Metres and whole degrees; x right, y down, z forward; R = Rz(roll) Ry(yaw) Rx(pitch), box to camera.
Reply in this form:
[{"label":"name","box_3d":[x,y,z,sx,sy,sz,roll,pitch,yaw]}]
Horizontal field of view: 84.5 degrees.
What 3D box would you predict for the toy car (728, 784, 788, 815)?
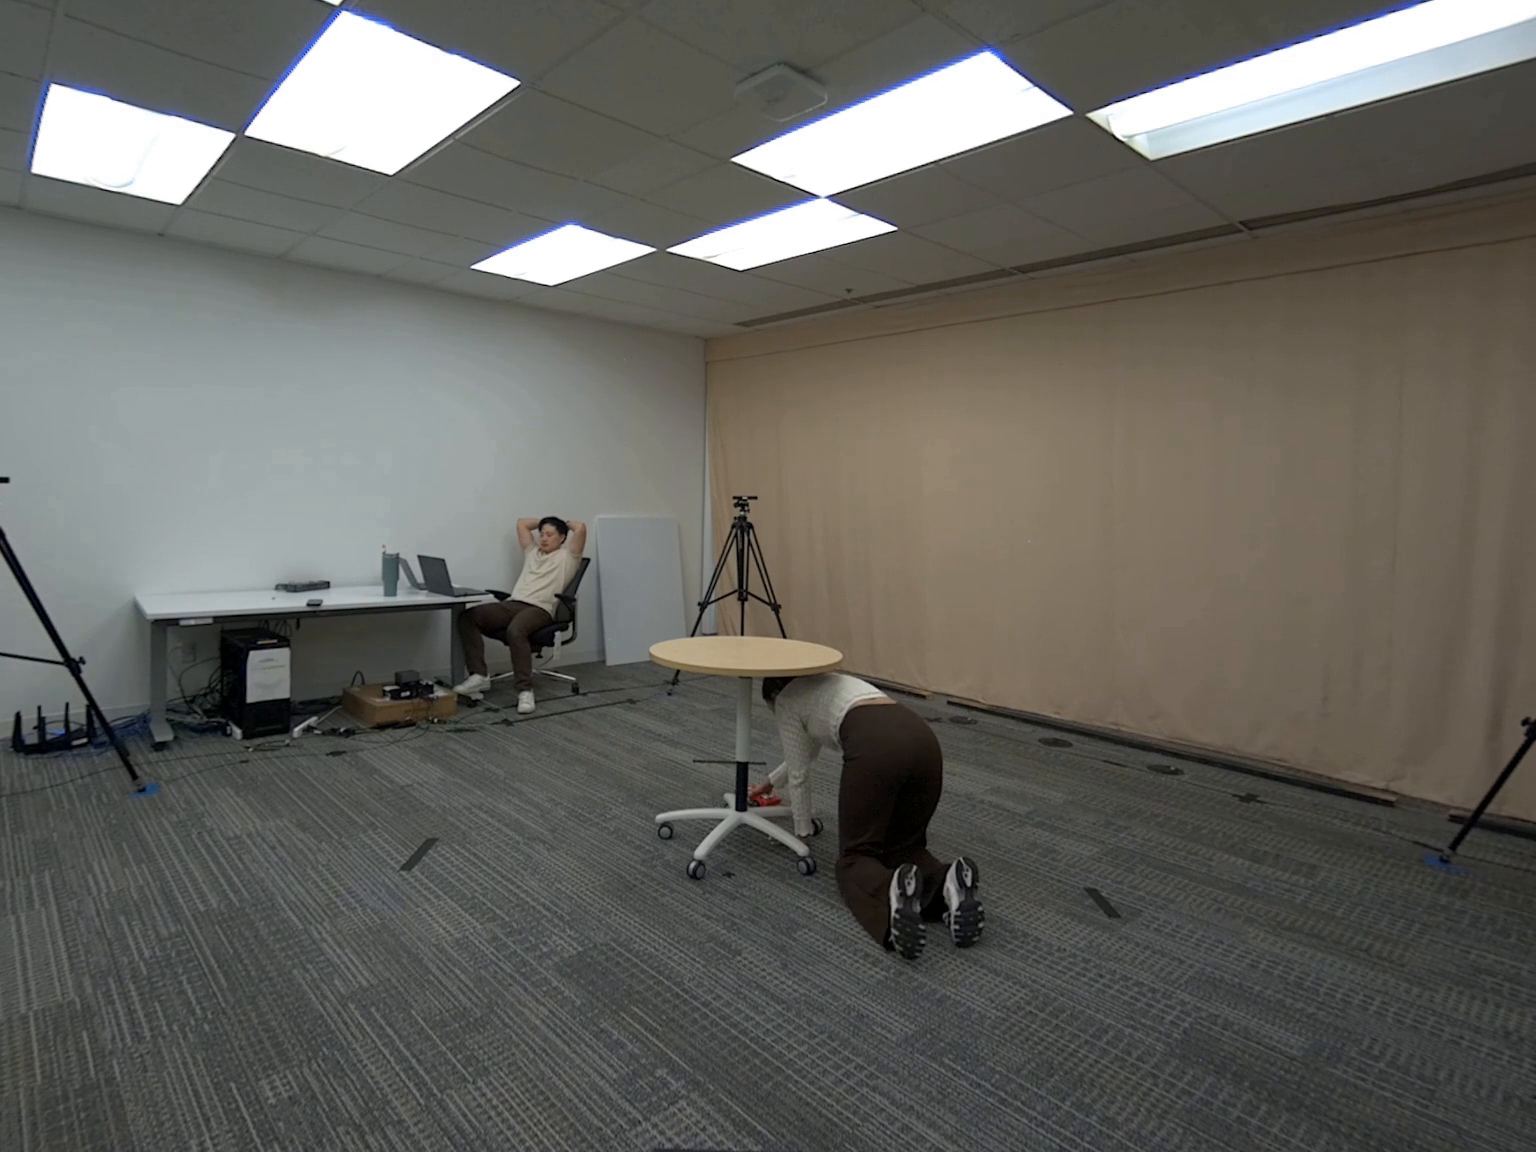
[{"label":"toy car","box_3d":[-0.051,1.011,3.837,0.127,0.083,0.259,0,-5,-40]}]
